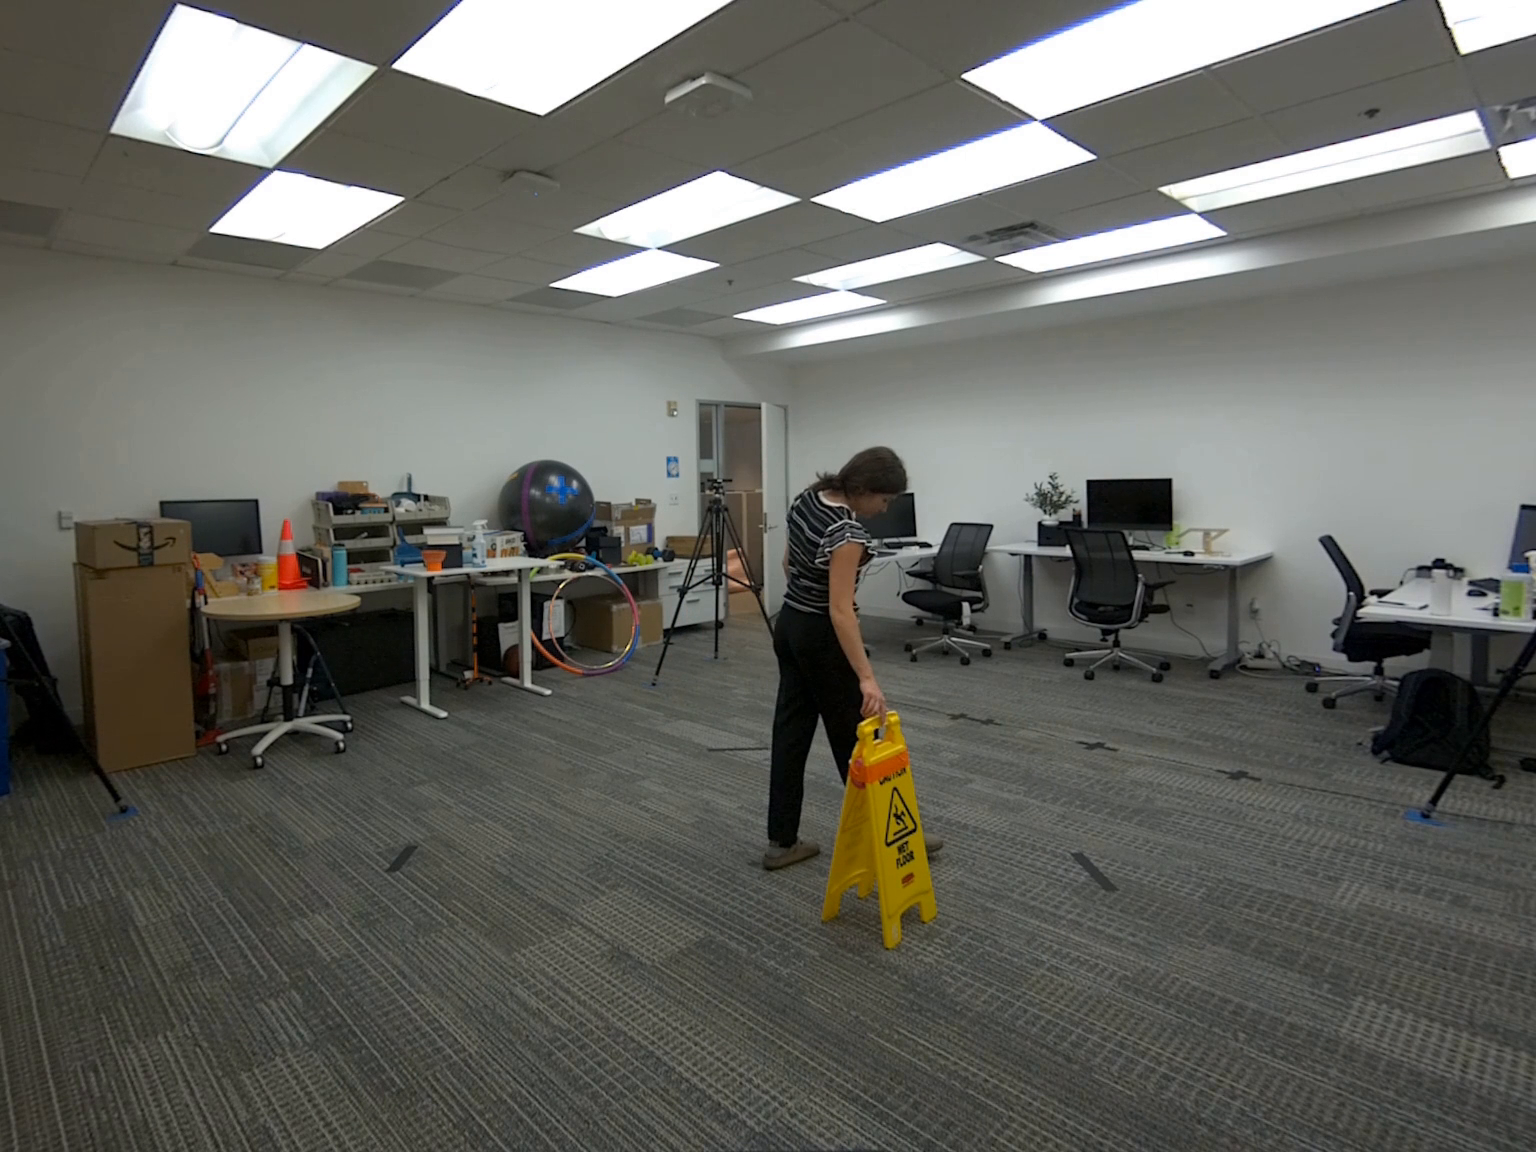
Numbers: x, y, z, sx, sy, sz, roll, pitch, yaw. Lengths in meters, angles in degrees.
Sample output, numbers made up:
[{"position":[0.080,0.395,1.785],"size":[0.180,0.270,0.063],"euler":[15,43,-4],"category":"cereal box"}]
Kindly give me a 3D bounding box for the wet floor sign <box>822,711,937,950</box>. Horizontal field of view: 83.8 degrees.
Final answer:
[{"position":[0.351,0.767,2.681],"size":[0.299,0.643,0.275],"euler":[5,7,41],"category":"wet floor sign"}]
